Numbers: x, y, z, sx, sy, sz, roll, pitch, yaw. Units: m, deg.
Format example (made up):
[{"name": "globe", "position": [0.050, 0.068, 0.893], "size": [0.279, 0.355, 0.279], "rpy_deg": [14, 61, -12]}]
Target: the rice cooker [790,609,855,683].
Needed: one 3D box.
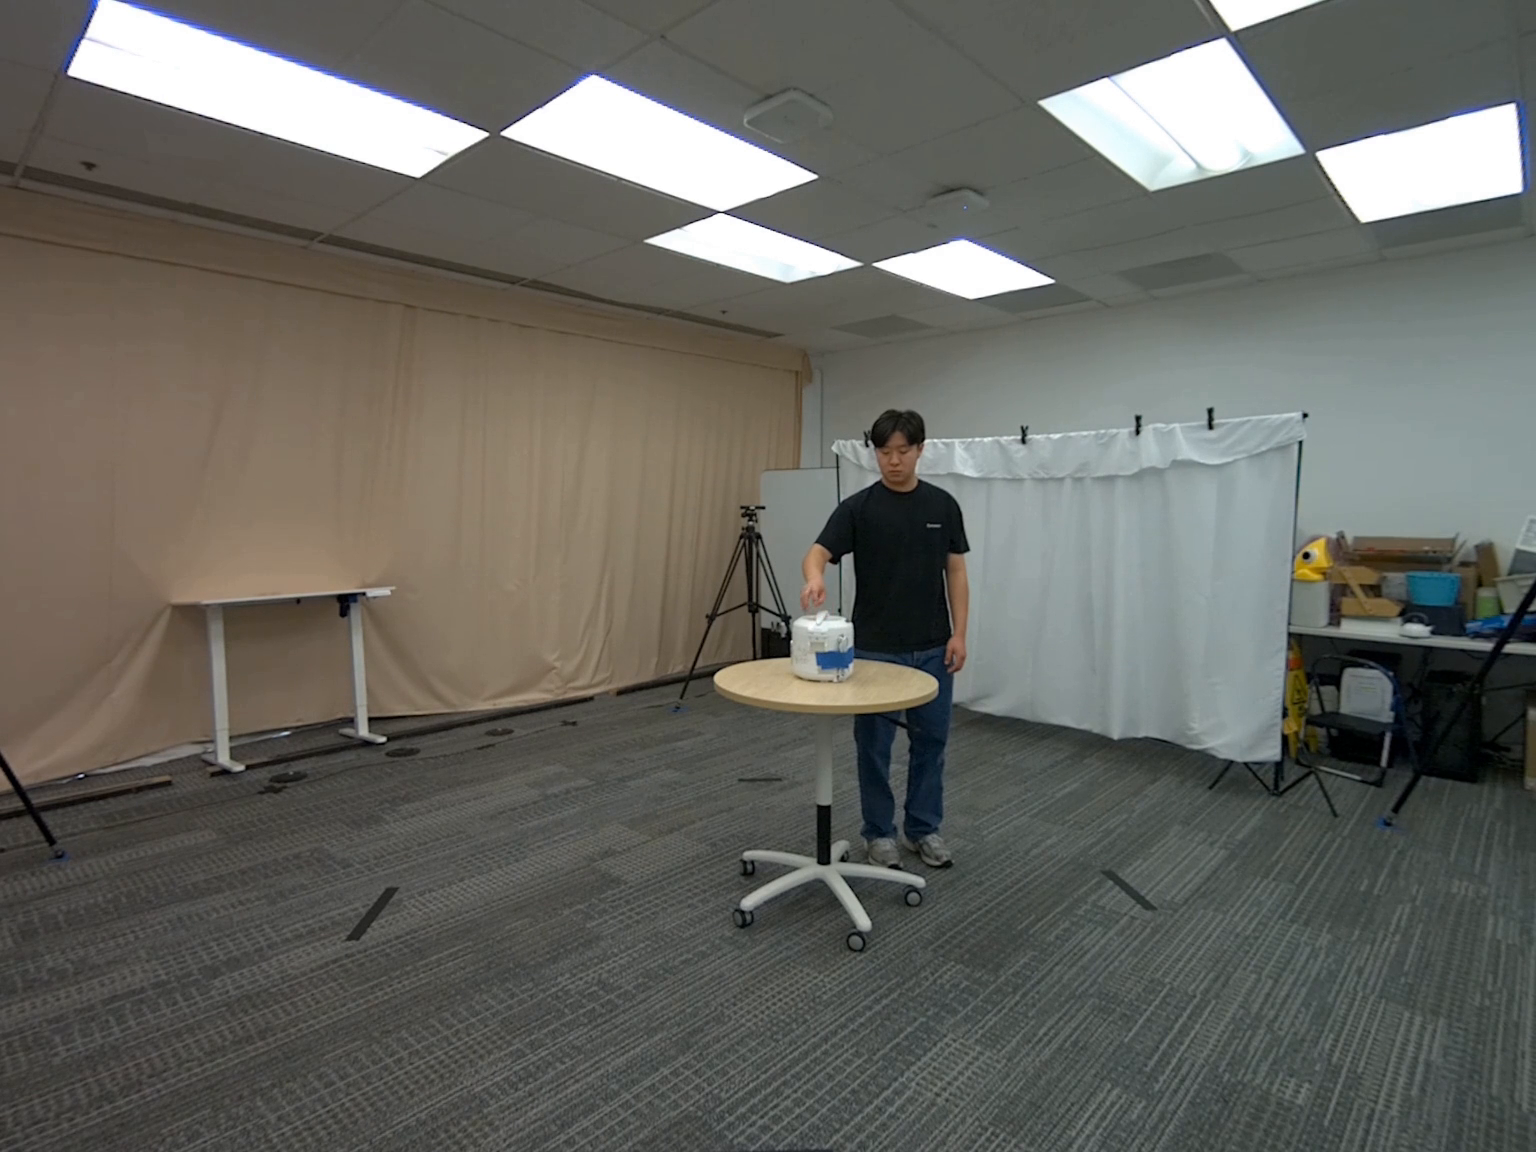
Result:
[{"name": "rice cooker", "position": [0.191, 0.235, 2.921], "size": [0.221, 0.232, 0.217], "rpy_deg": [2, 4, 16]}]
